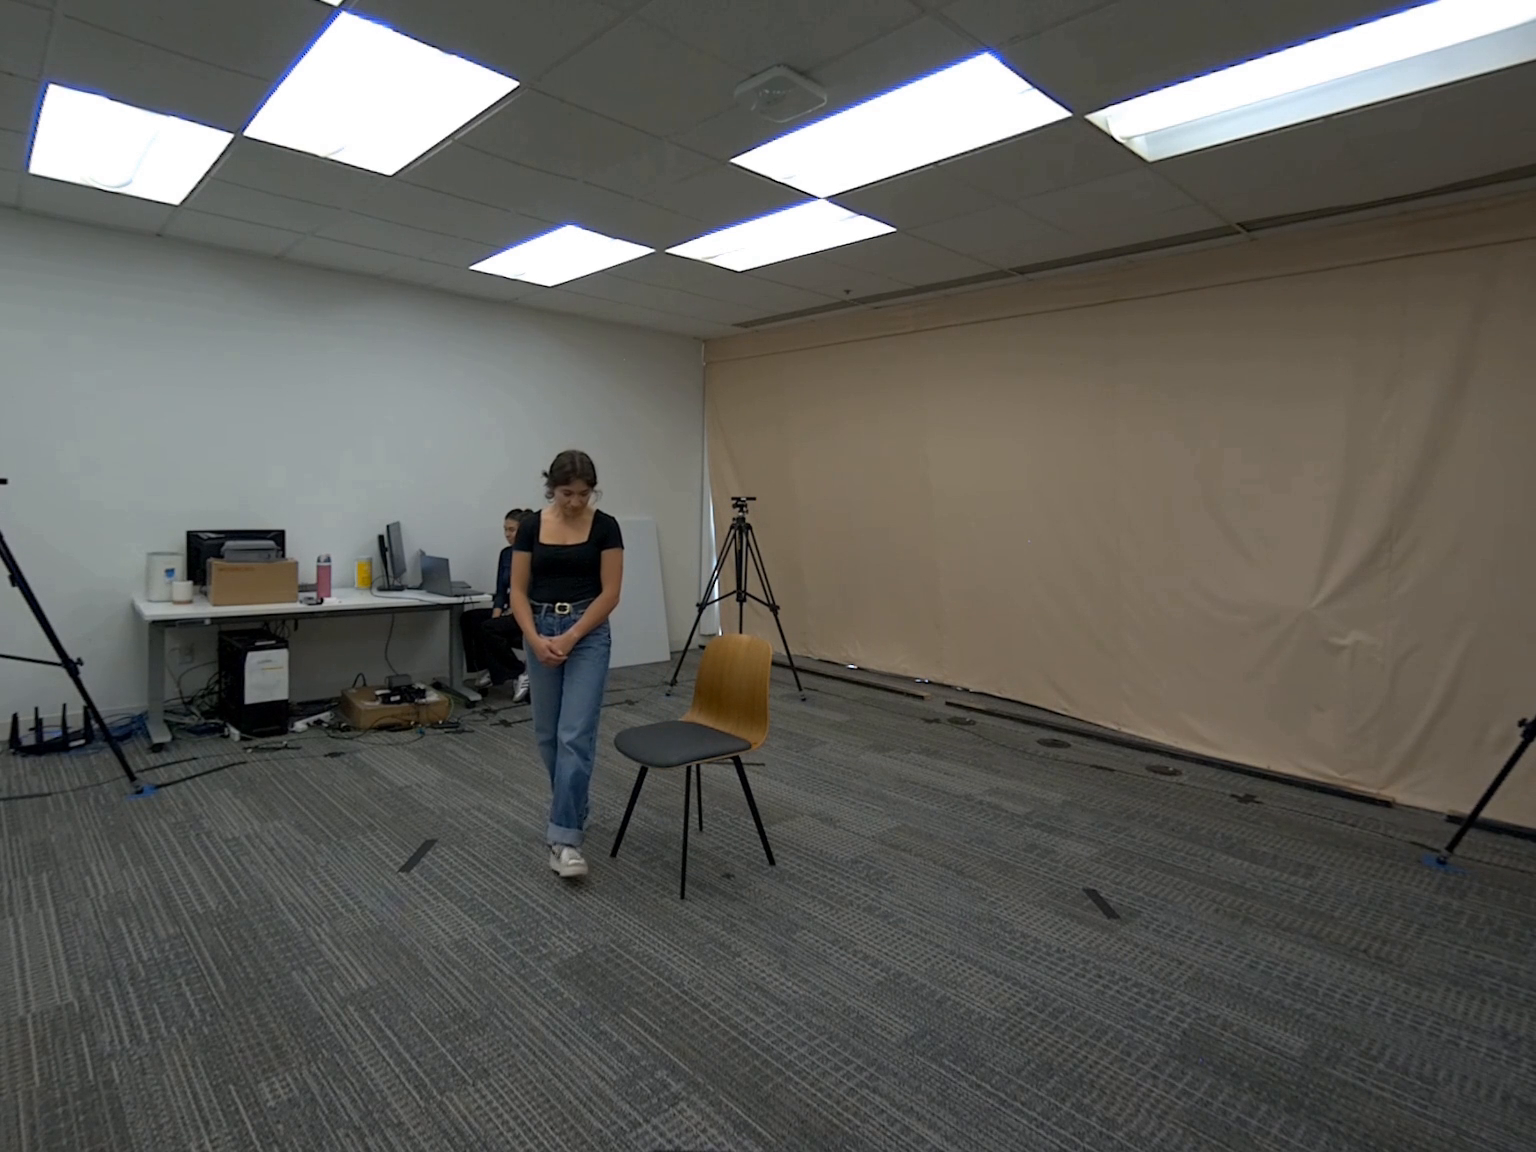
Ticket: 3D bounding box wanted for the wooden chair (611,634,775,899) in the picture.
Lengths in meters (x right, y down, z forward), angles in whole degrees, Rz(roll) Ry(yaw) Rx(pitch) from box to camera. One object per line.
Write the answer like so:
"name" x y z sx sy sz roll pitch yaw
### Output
"wooden chair" -0.290 0.669 3.189 0.510 0.877 0.490 4 1 -43
